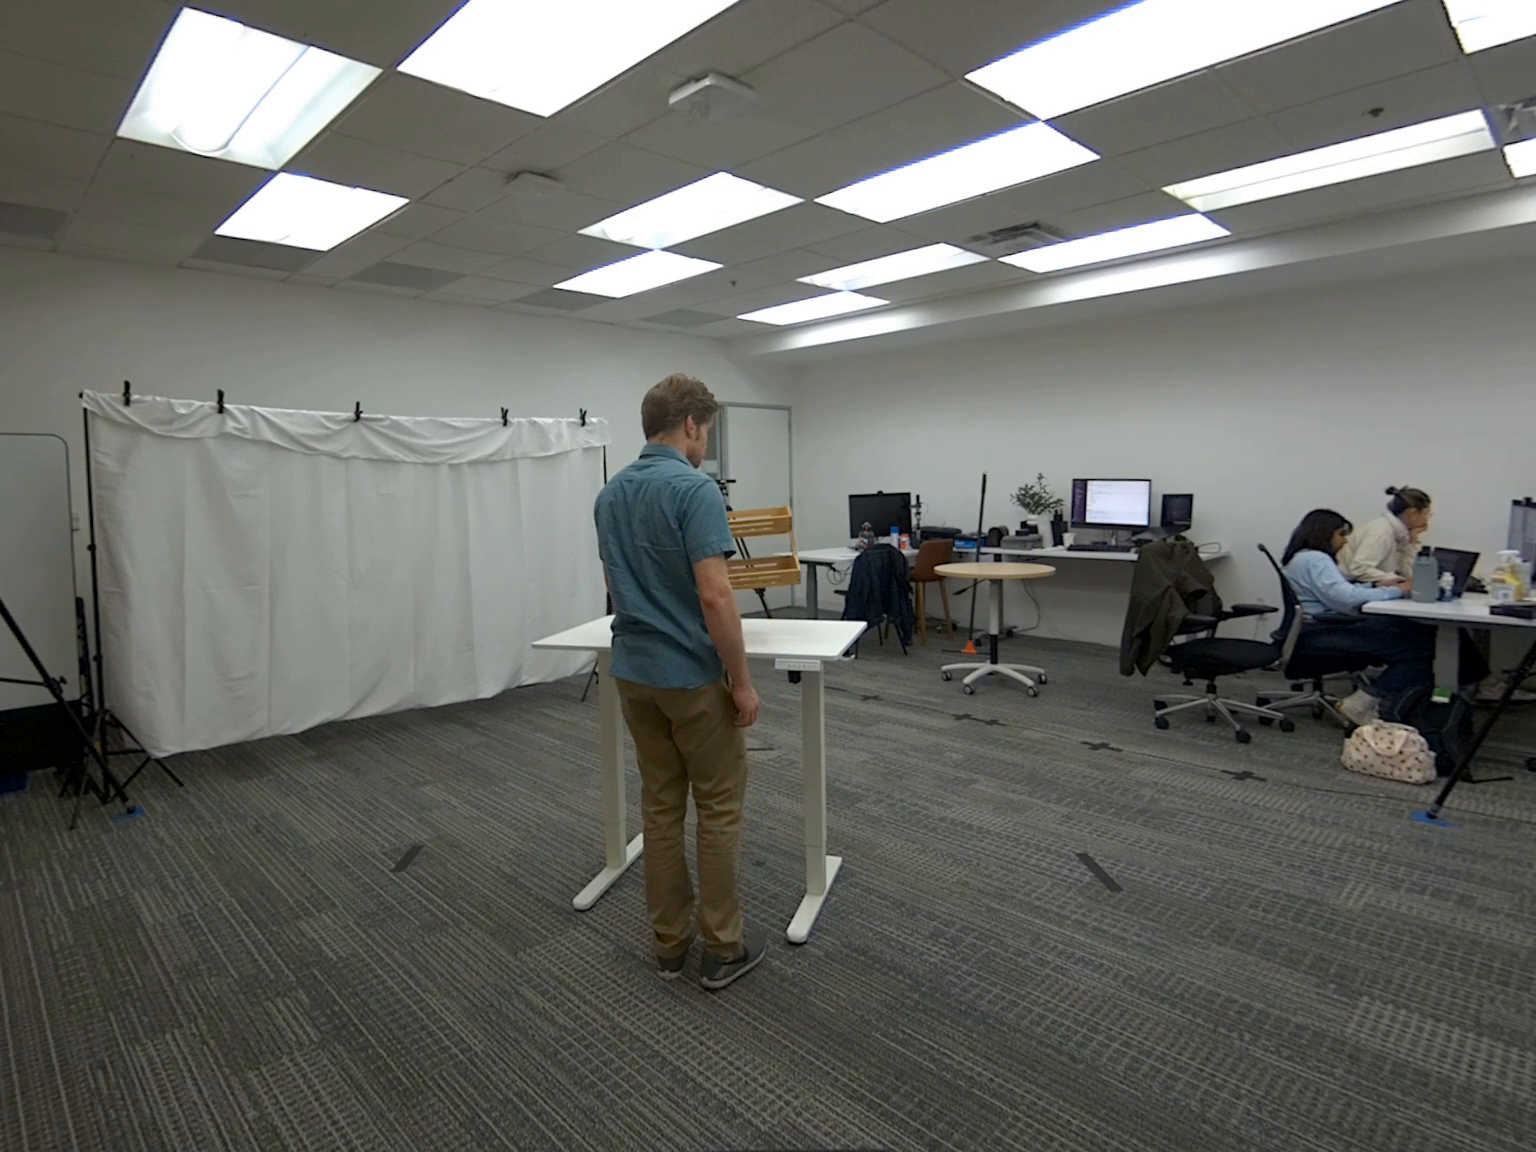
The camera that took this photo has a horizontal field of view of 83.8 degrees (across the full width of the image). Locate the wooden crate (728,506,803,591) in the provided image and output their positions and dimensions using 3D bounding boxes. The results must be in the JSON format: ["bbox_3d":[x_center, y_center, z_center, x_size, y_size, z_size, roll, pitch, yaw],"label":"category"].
[{"bbox_3d":[-0.068,-0.095,2.787,0.323,0.274,0.303,-5,-1,-5],"label":"wooden crate"}]
